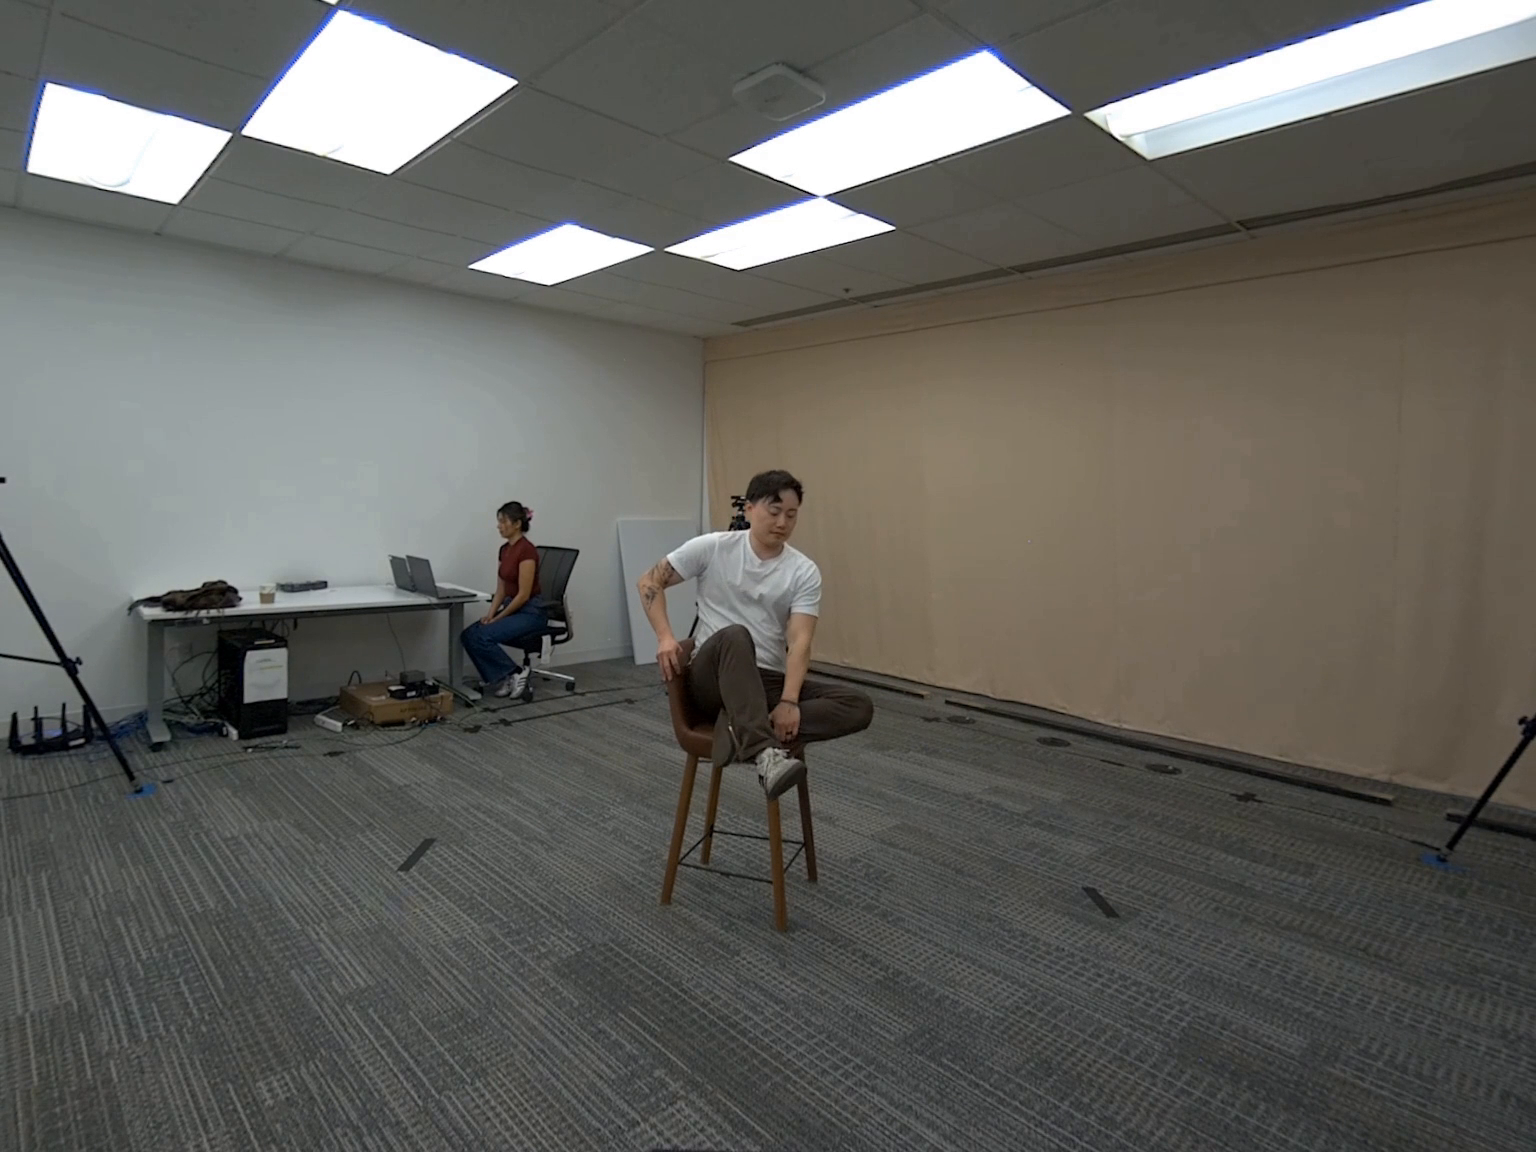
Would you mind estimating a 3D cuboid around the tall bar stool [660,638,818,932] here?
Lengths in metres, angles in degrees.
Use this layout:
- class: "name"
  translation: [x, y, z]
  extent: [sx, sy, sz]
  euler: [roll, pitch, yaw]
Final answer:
- class: "tall bar stool"
  translation: [-0.101, 0.688, 2.941]
  extent: [0.475, 0.888, 0.450]
  euler: [0, 3, 22]
